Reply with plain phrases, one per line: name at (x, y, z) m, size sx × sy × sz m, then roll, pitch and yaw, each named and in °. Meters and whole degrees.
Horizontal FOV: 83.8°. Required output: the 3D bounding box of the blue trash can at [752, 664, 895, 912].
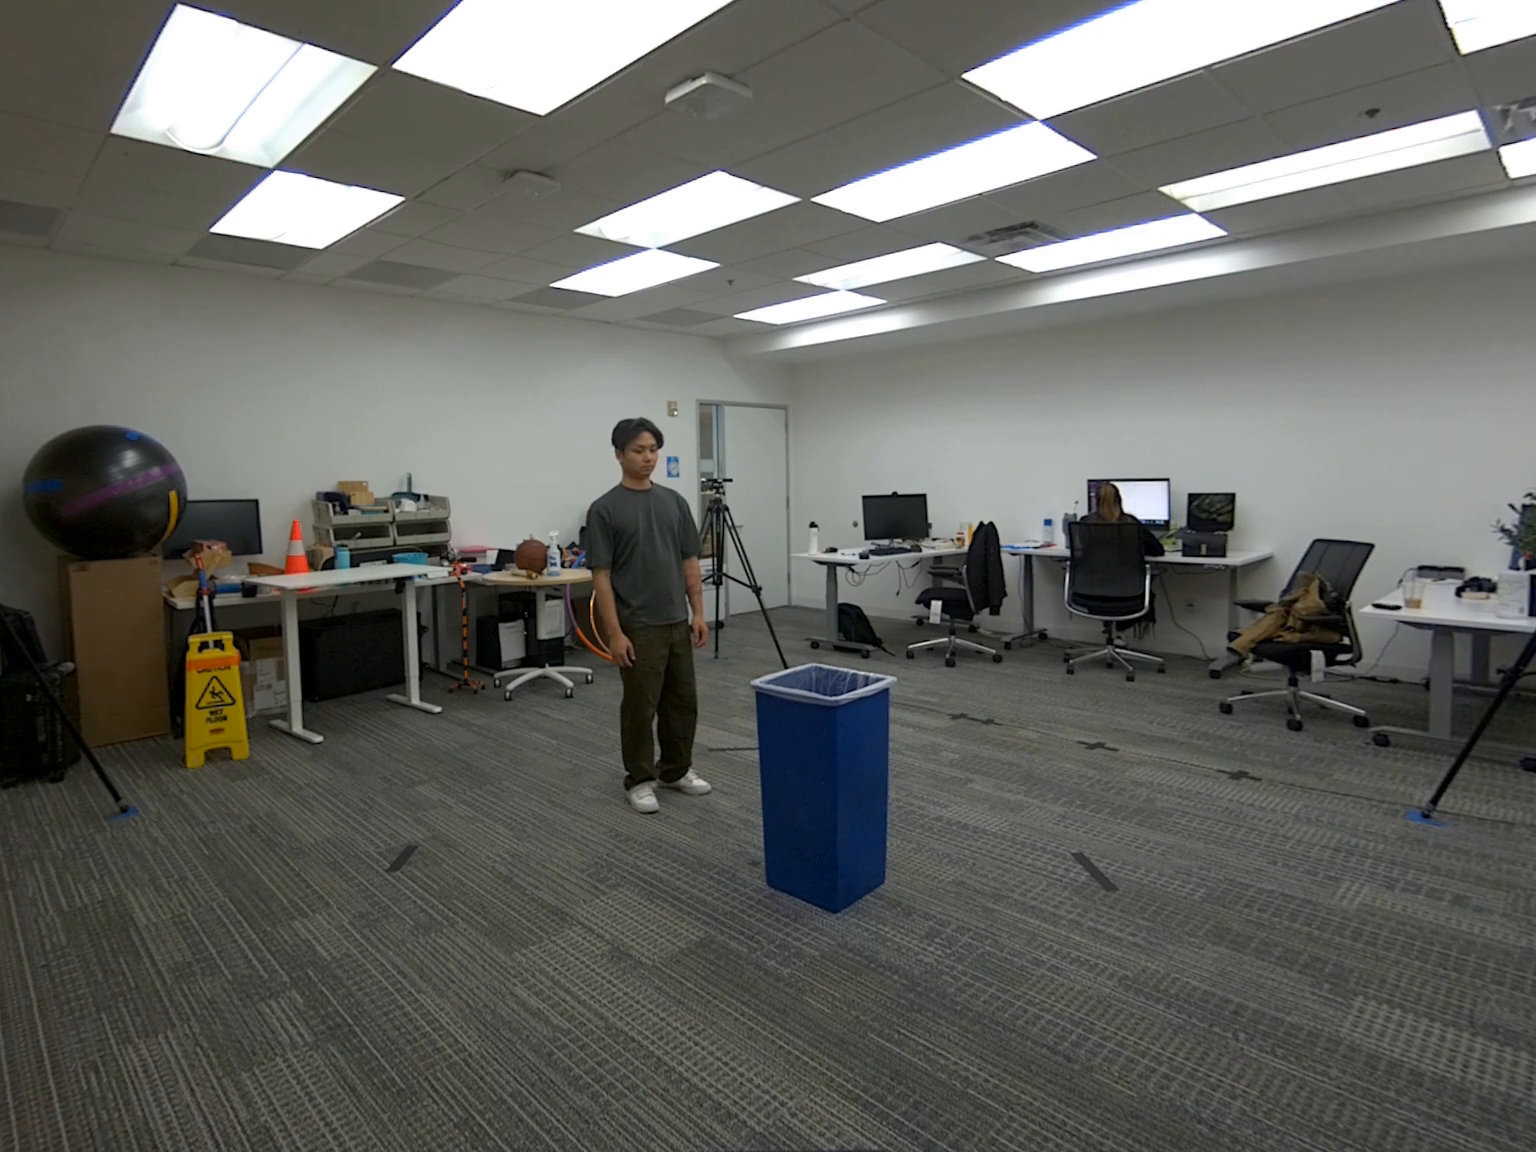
blue trash can at (0.203, 0.704, 2.917) m, size 0.385 × 0.711 × 0.368 m, roll 2°, pitch 5°, yaw 41°
